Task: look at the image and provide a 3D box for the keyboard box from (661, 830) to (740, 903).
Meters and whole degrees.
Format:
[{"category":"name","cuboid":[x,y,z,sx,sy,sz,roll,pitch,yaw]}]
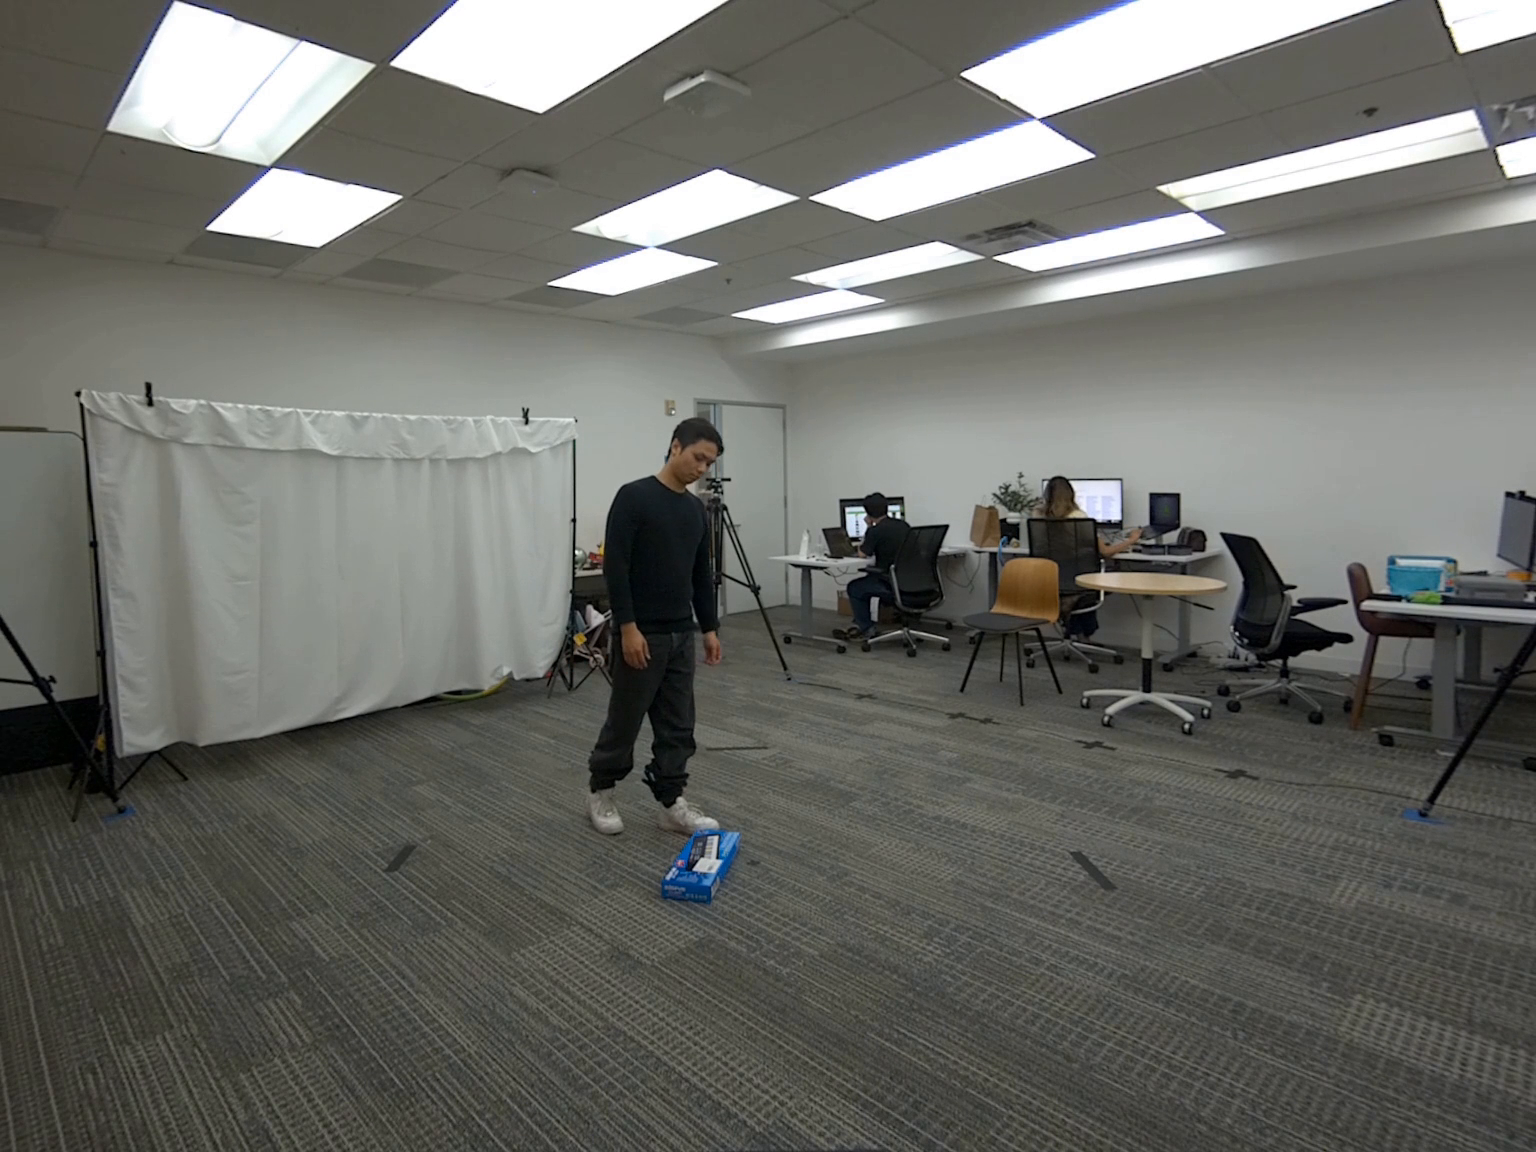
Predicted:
[{"category":"keyboard box","cuboid":[-0.226,1.020,3.047,0.178,0.059,0.433,1,7,12]}]
